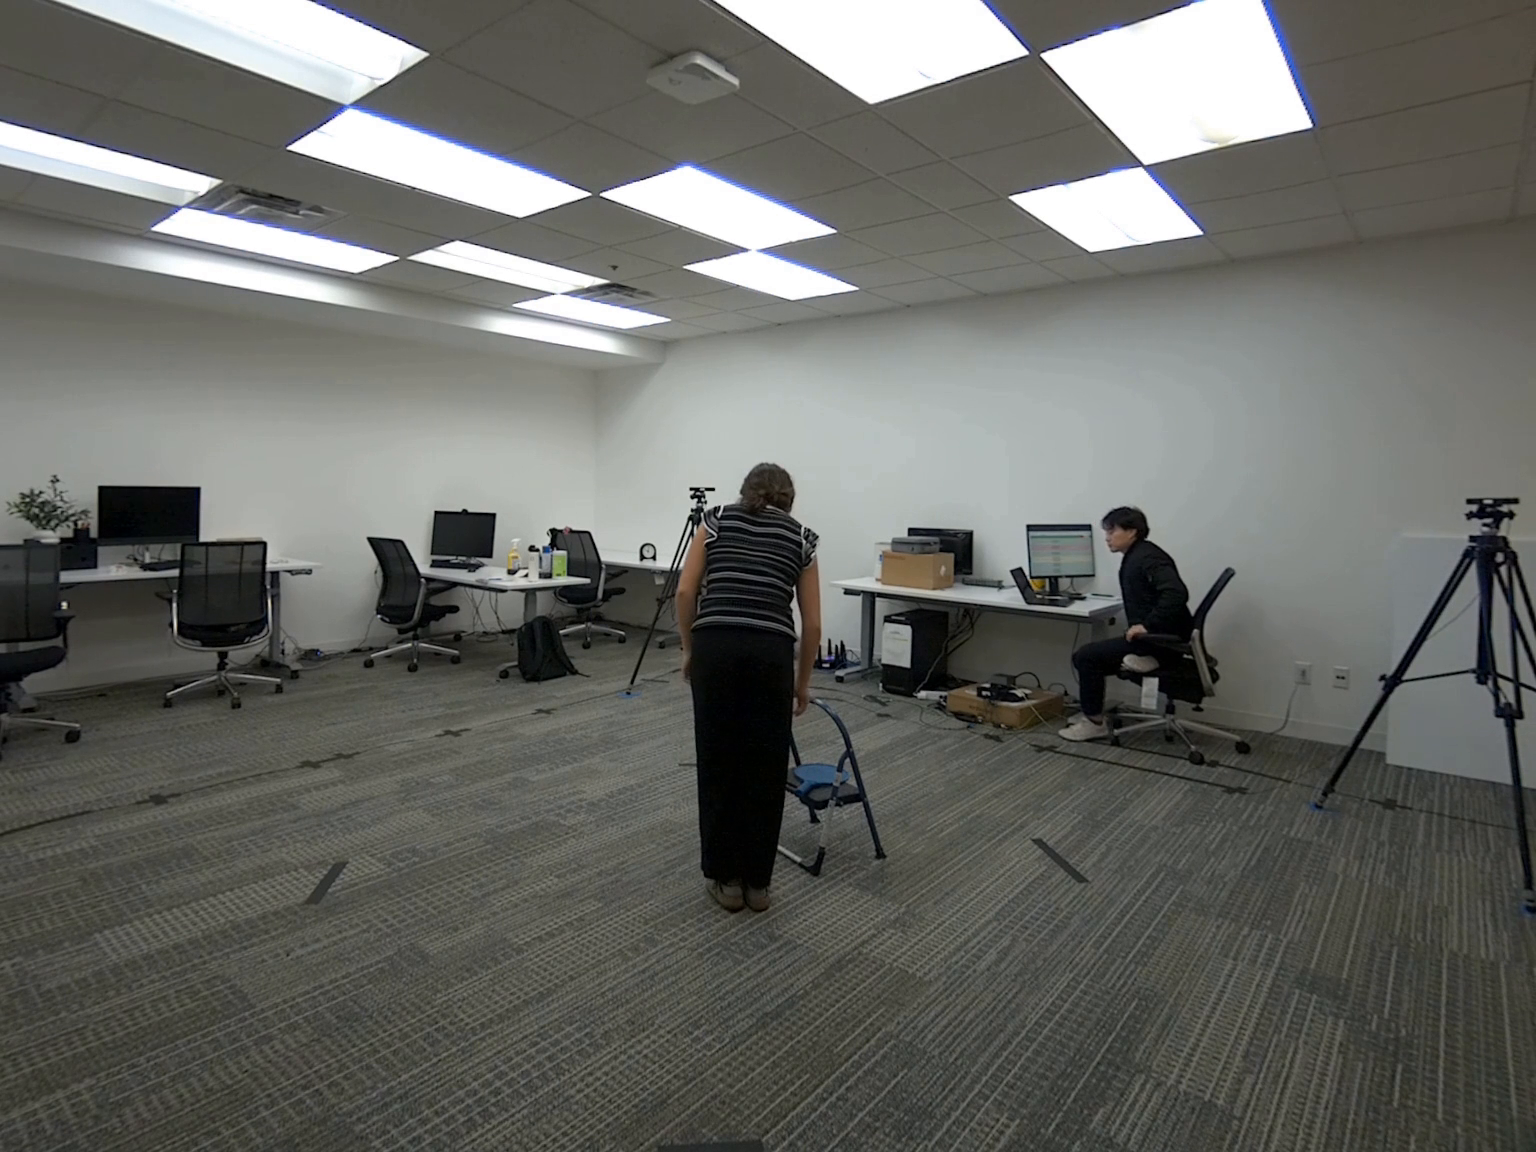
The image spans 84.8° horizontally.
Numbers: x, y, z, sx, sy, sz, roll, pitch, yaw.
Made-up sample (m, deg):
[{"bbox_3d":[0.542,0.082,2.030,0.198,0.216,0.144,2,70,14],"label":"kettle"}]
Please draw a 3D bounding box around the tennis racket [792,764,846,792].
[{"bbox_3d":[0.169,0.784,3.288,0.218,0.032,0.425,5,4,17],"label":"tennis racket"}]
